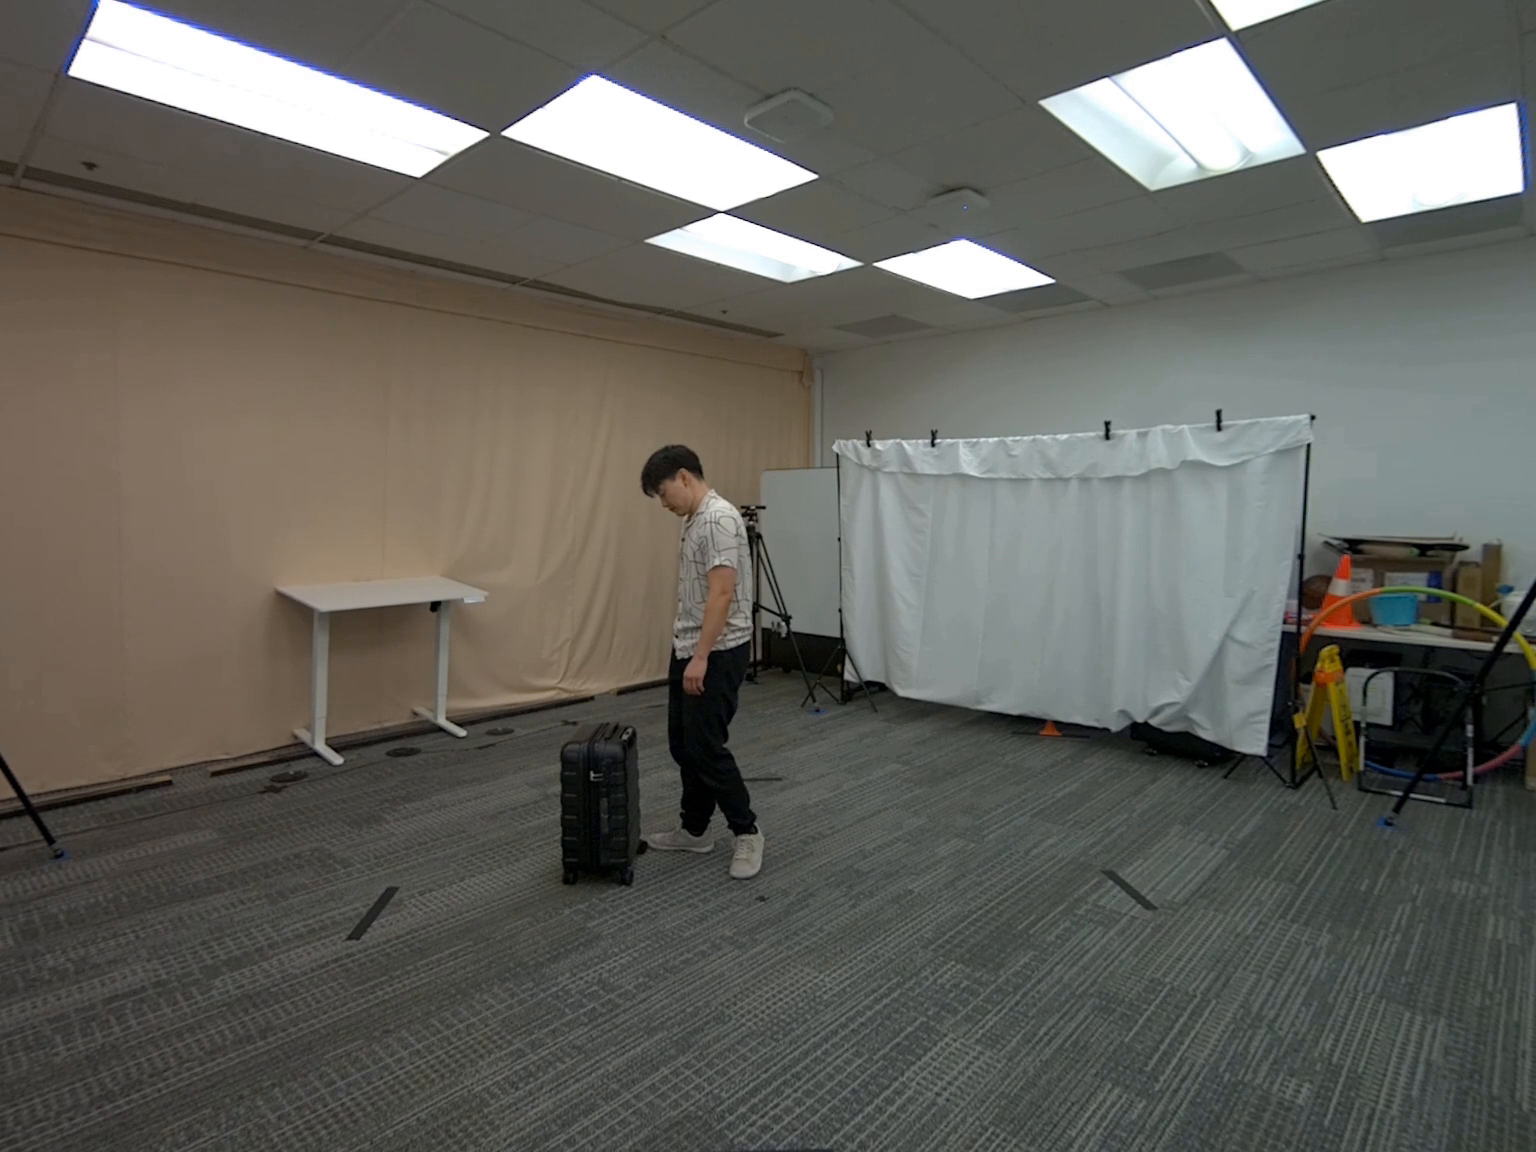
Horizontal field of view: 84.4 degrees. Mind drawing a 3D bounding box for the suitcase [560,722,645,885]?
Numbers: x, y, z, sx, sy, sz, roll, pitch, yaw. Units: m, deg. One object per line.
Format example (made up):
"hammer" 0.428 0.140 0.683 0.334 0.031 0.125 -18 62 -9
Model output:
"suitcase" -0.635 0.856 3.224 0.249 0.548 0.376 -1 4 1
